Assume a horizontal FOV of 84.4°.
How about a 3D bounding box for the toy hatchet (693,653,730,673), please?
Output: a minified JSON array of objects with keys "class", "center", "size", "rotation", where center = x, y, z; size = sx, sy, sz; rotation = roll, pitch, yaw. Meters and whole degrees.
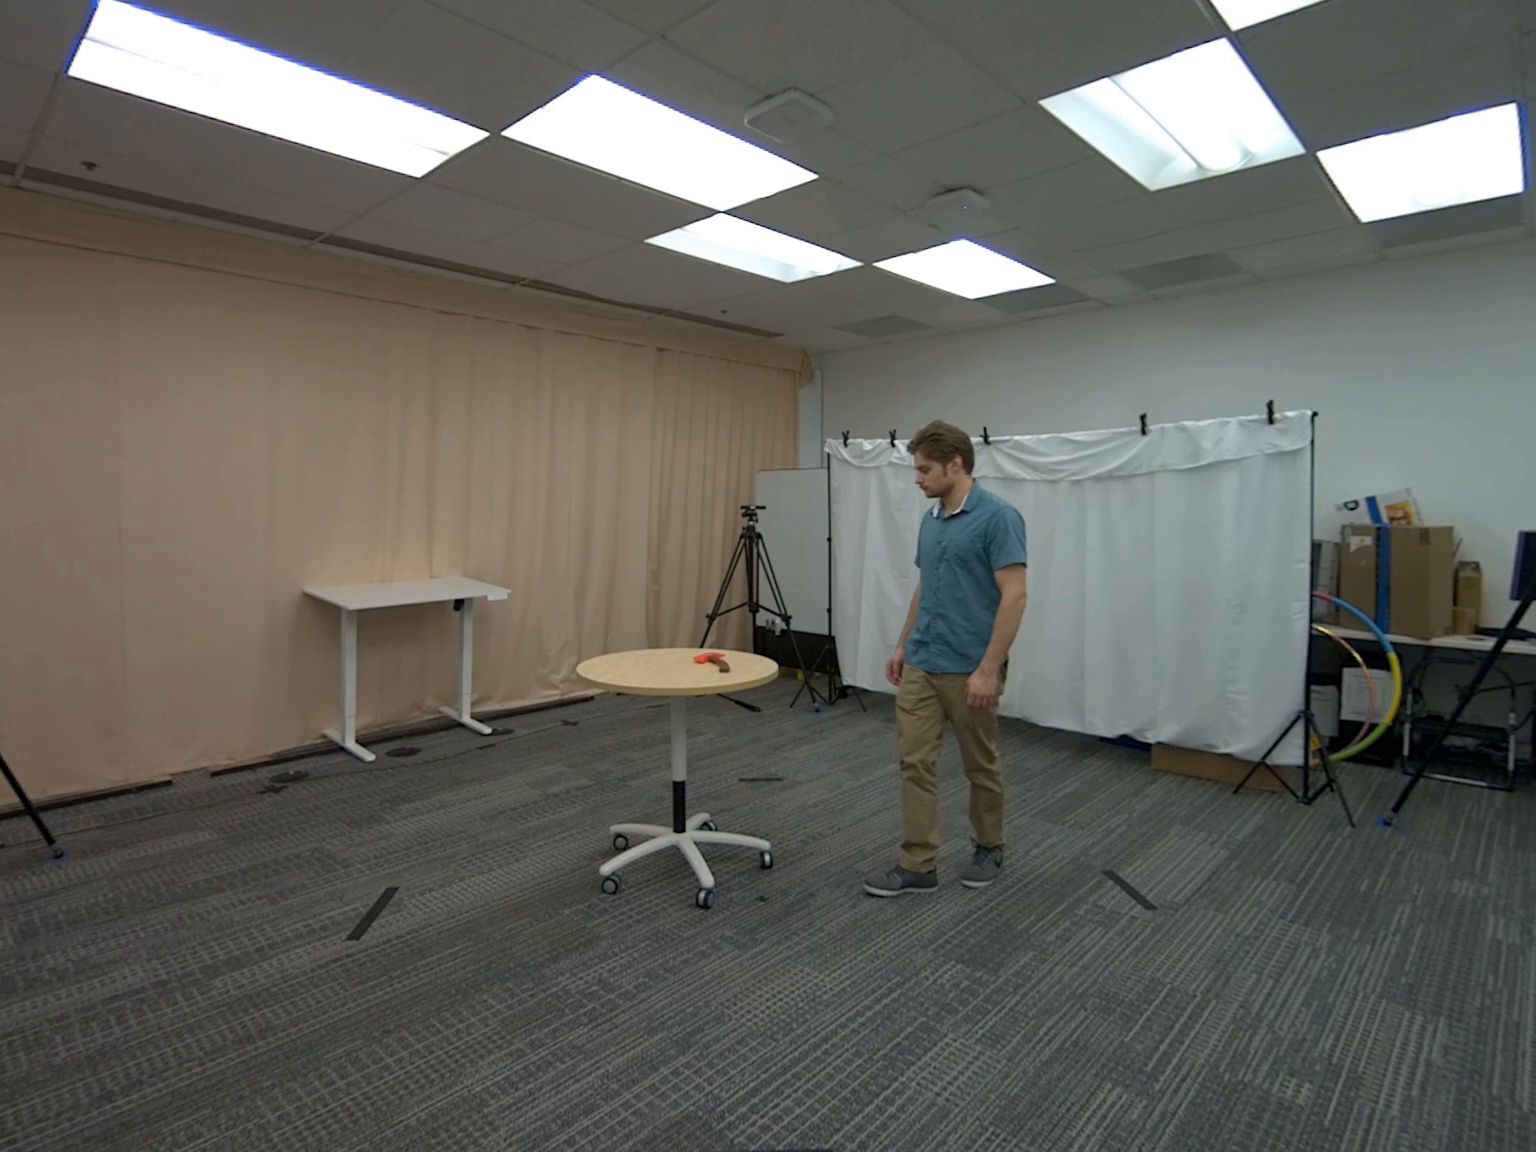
[{"class":"toy hatchet","center":[-0.214,0.333,3.206],"size":[0.130,0.029,0.272],"rotation":[-1,7,-6]}]
